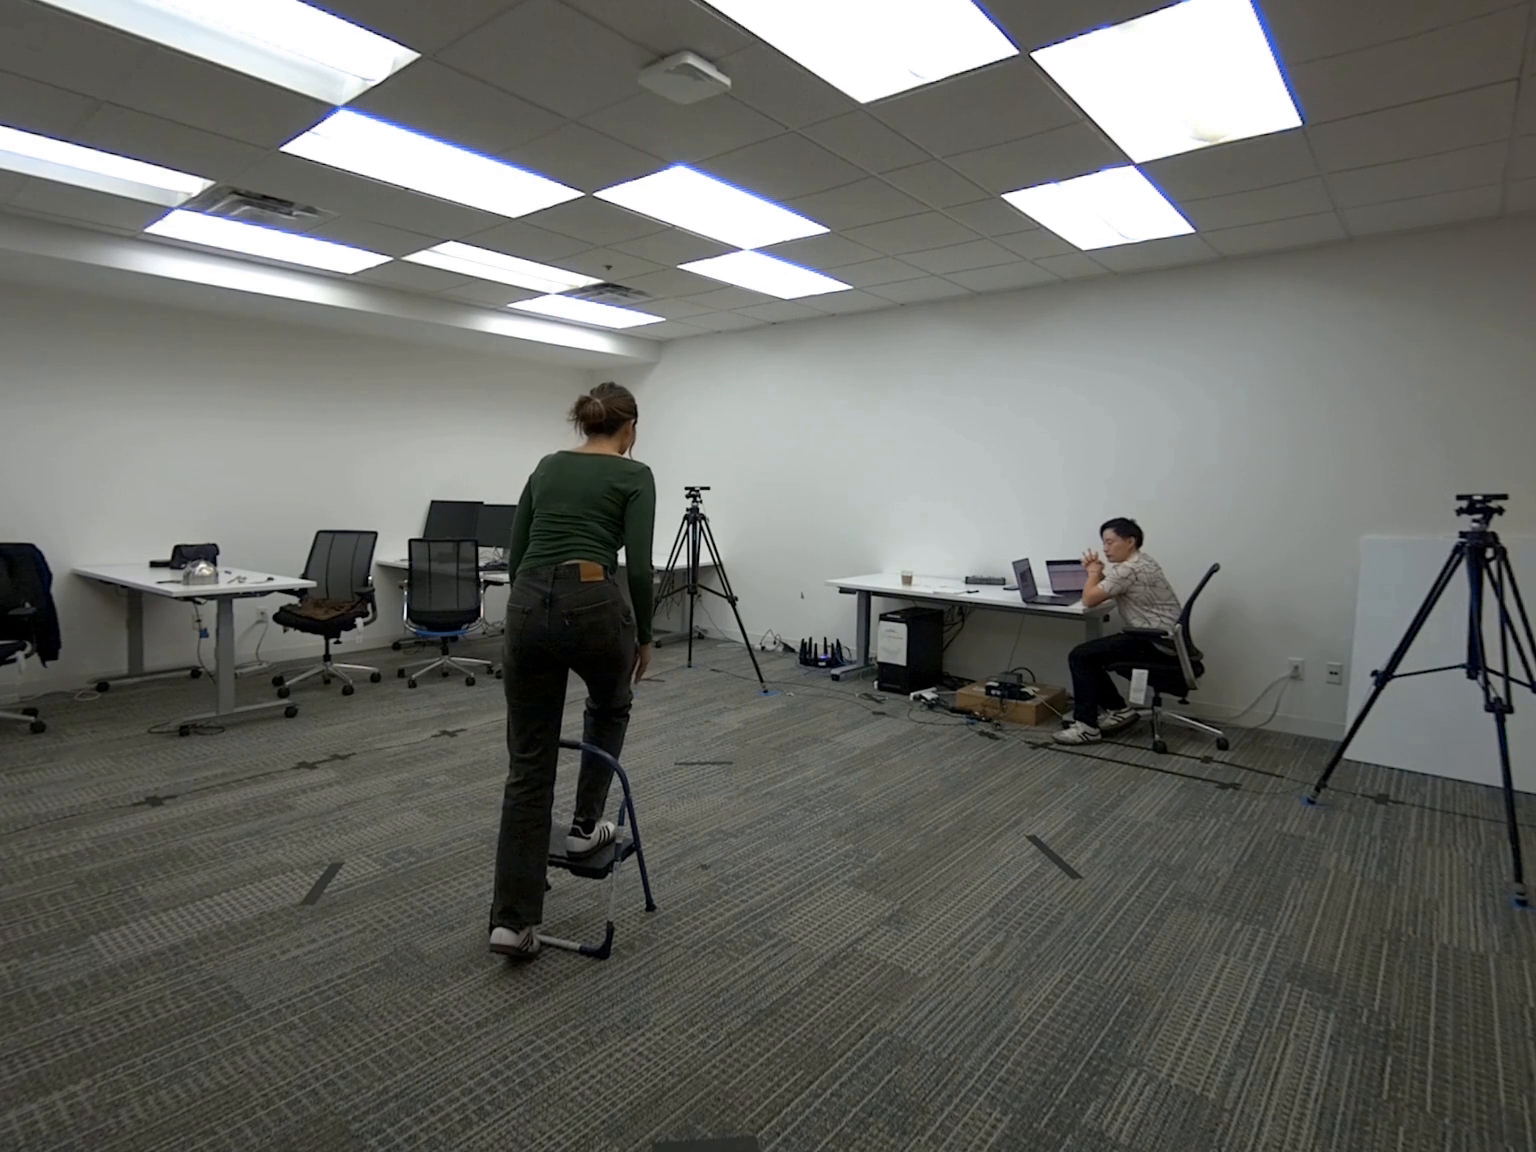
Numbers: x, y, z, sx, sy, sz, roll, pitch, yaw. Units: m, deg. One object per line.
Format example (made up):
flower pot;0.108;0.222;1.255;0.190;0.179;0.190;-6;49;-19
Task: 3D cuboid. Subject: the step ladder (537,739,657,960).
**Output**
step ladder;-0.626;0.799;2.705;0.439;0.604;0.344;2;4;18
